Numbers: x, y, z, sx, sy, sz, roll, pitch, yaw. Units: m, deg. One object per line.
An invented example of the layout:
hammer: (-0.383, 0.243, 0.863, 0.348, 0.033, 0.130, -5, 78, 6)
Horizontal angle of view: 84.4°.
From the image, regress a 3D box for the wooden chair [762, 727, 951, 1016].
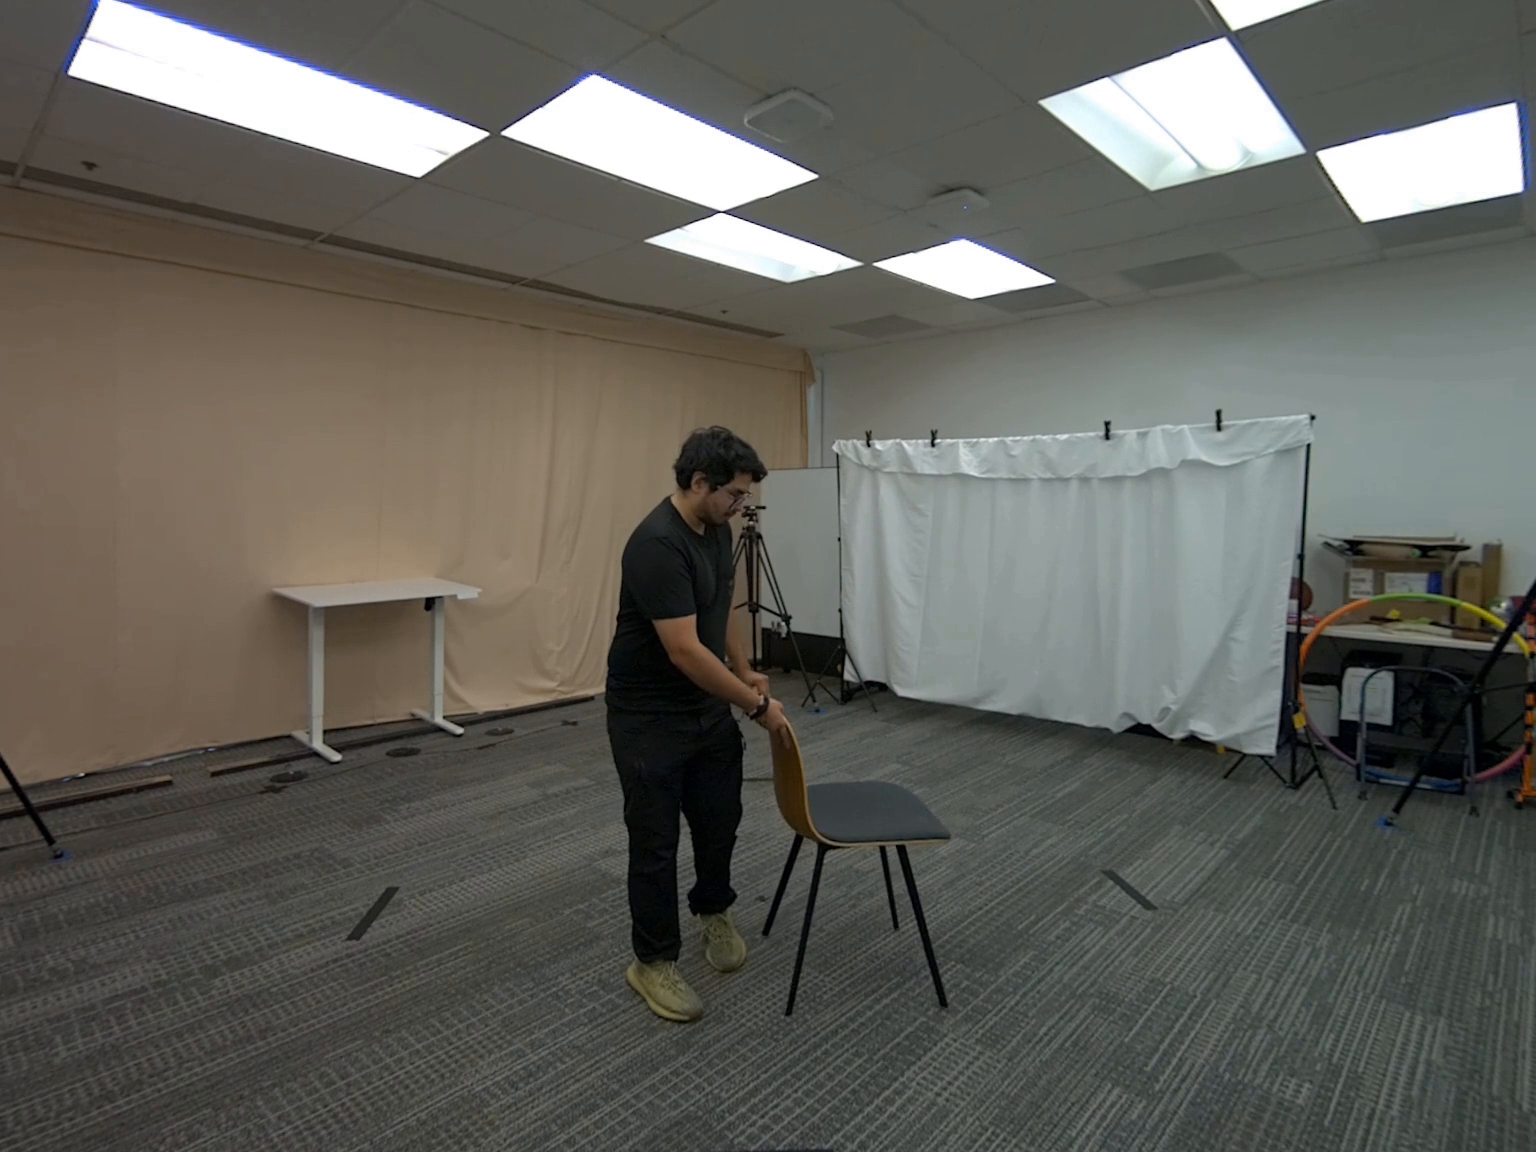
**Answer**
wooden chair: (0.257, 0.752, 2.511, 0.520, 0.876, 0.482, -5, 2, -7)
